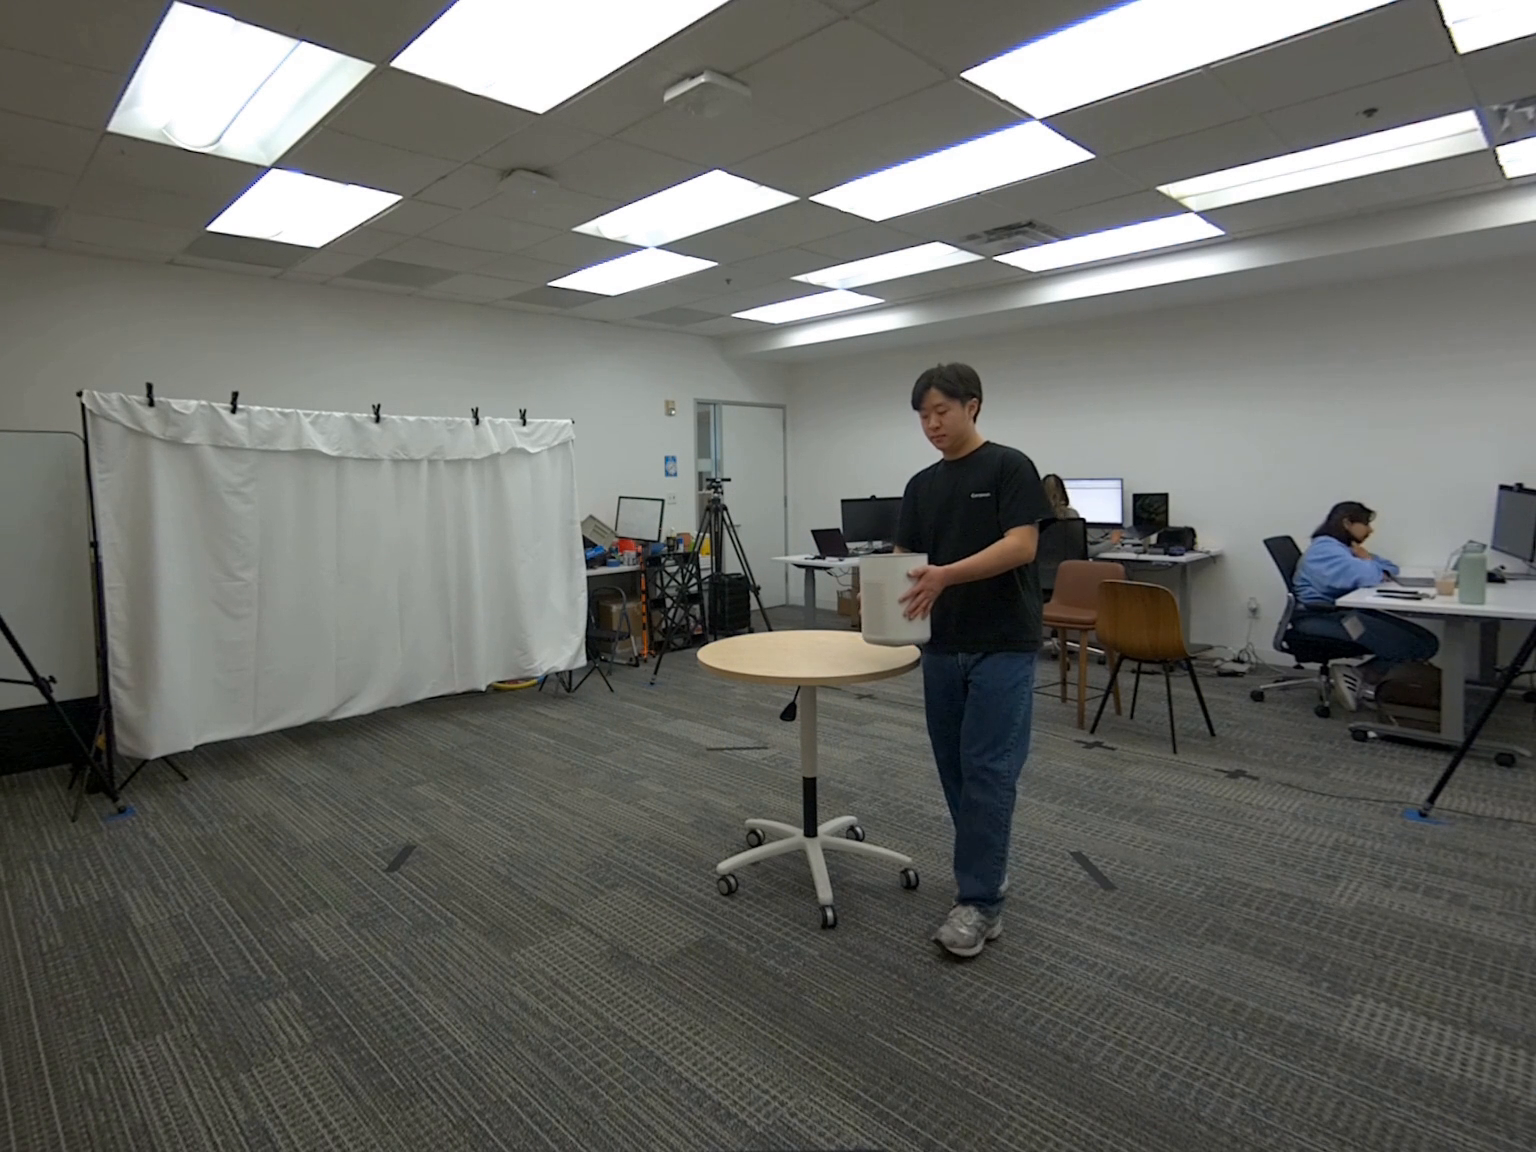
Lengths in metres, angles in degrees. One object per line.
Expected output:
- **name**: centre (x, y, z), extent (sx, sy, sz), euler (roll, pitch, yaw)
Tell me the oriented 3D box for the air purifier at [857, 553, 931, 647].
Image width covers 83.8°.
- **air purifier**: centre (0.388, 0.070, 2.516), extent (0.167, 0.265, 0.176), euler (-2, 0, -32)
